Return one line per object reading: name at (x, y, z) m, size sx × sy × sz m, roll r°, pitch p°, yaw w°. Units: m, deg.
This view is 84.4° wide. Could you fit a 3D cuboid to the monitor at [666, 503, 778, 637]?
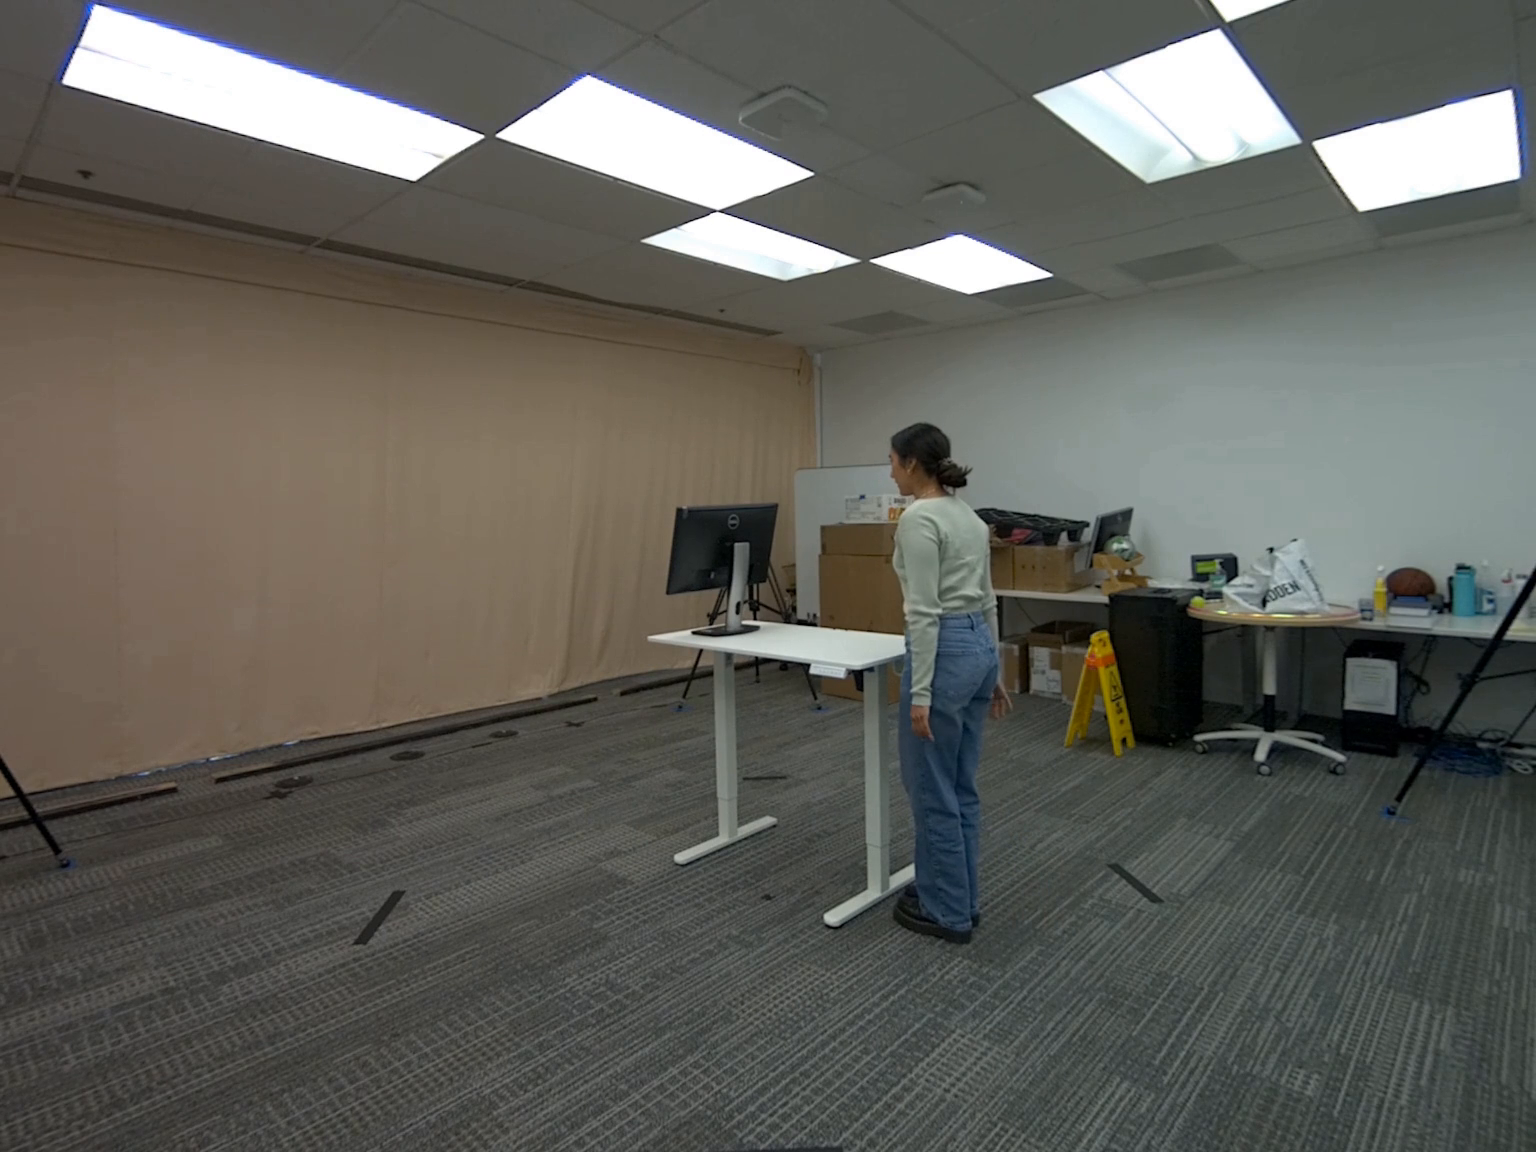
monitor at (-0.152, -0.025, 3.393) m, size 0.523 × 0.521 × 0.193 m, roll -6°, pitch 8°, yaw -45°
